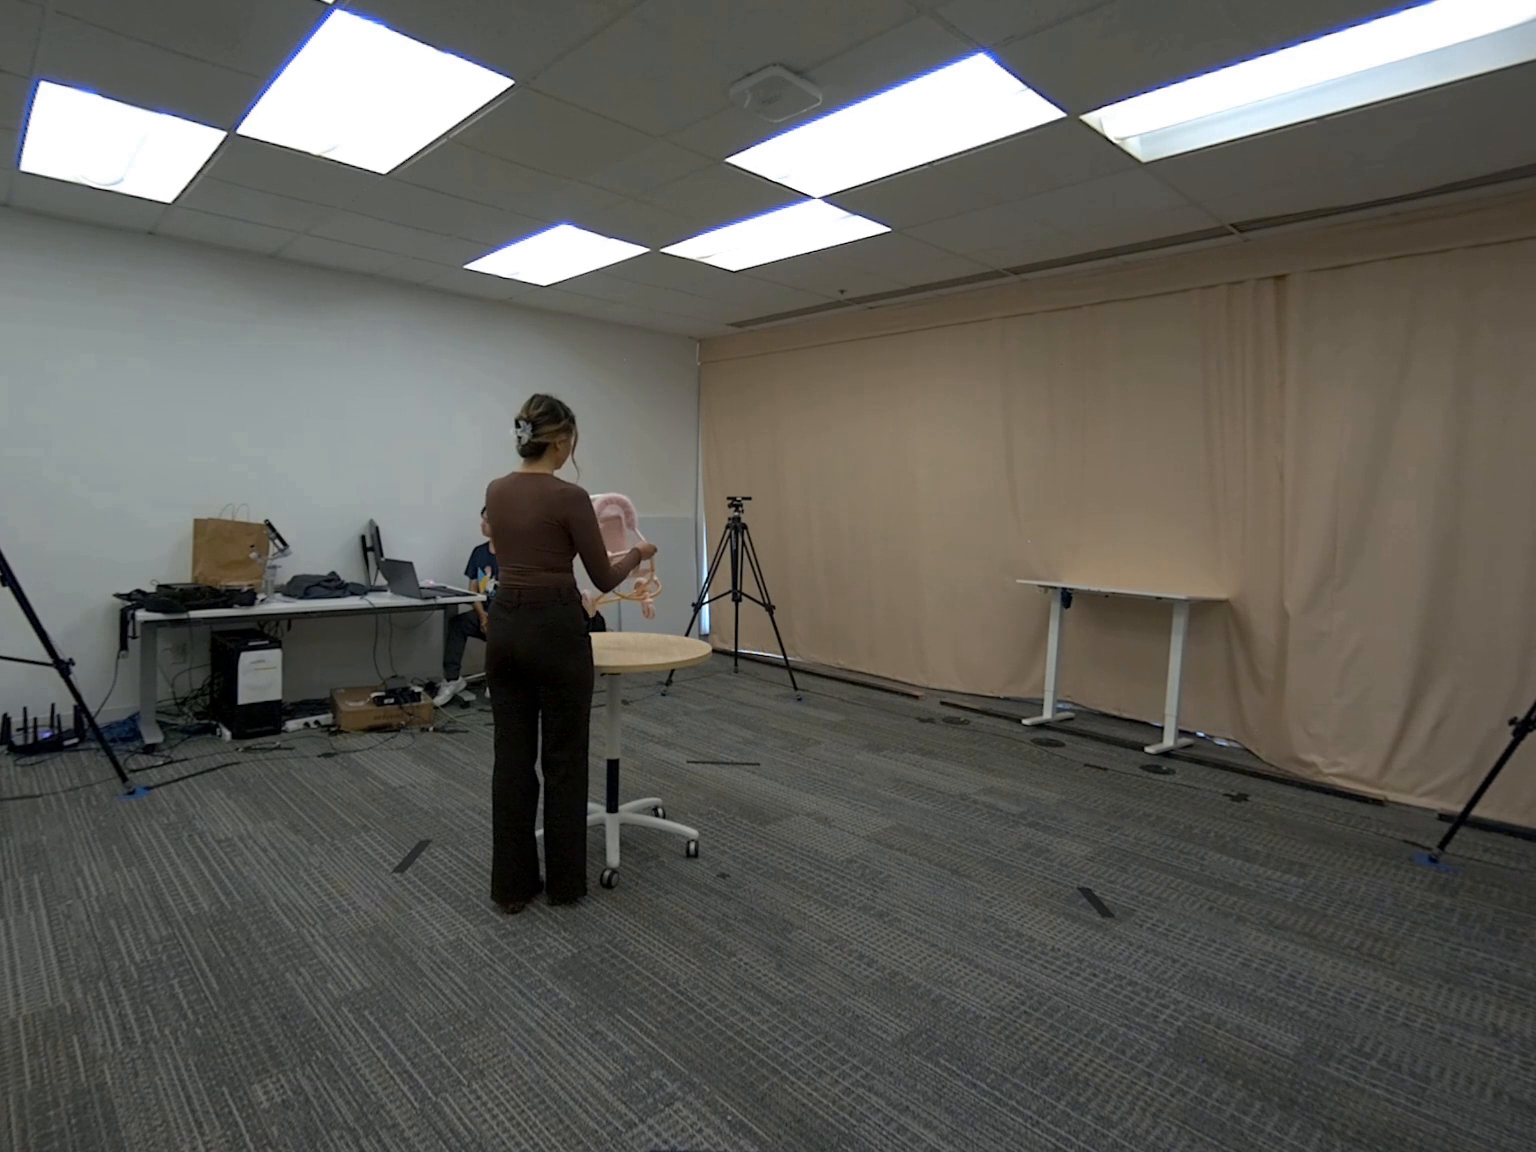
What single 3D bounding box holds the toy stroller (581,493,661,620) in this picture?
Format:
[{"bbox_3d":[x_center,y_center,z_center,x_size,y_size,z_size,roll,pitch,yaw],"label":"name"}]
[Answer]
[{"bbox_3d":[-0.583,-0.075,3.246,0.276,0.536,0.346,-10,-3,-33],"label":"toy stroller"}]
